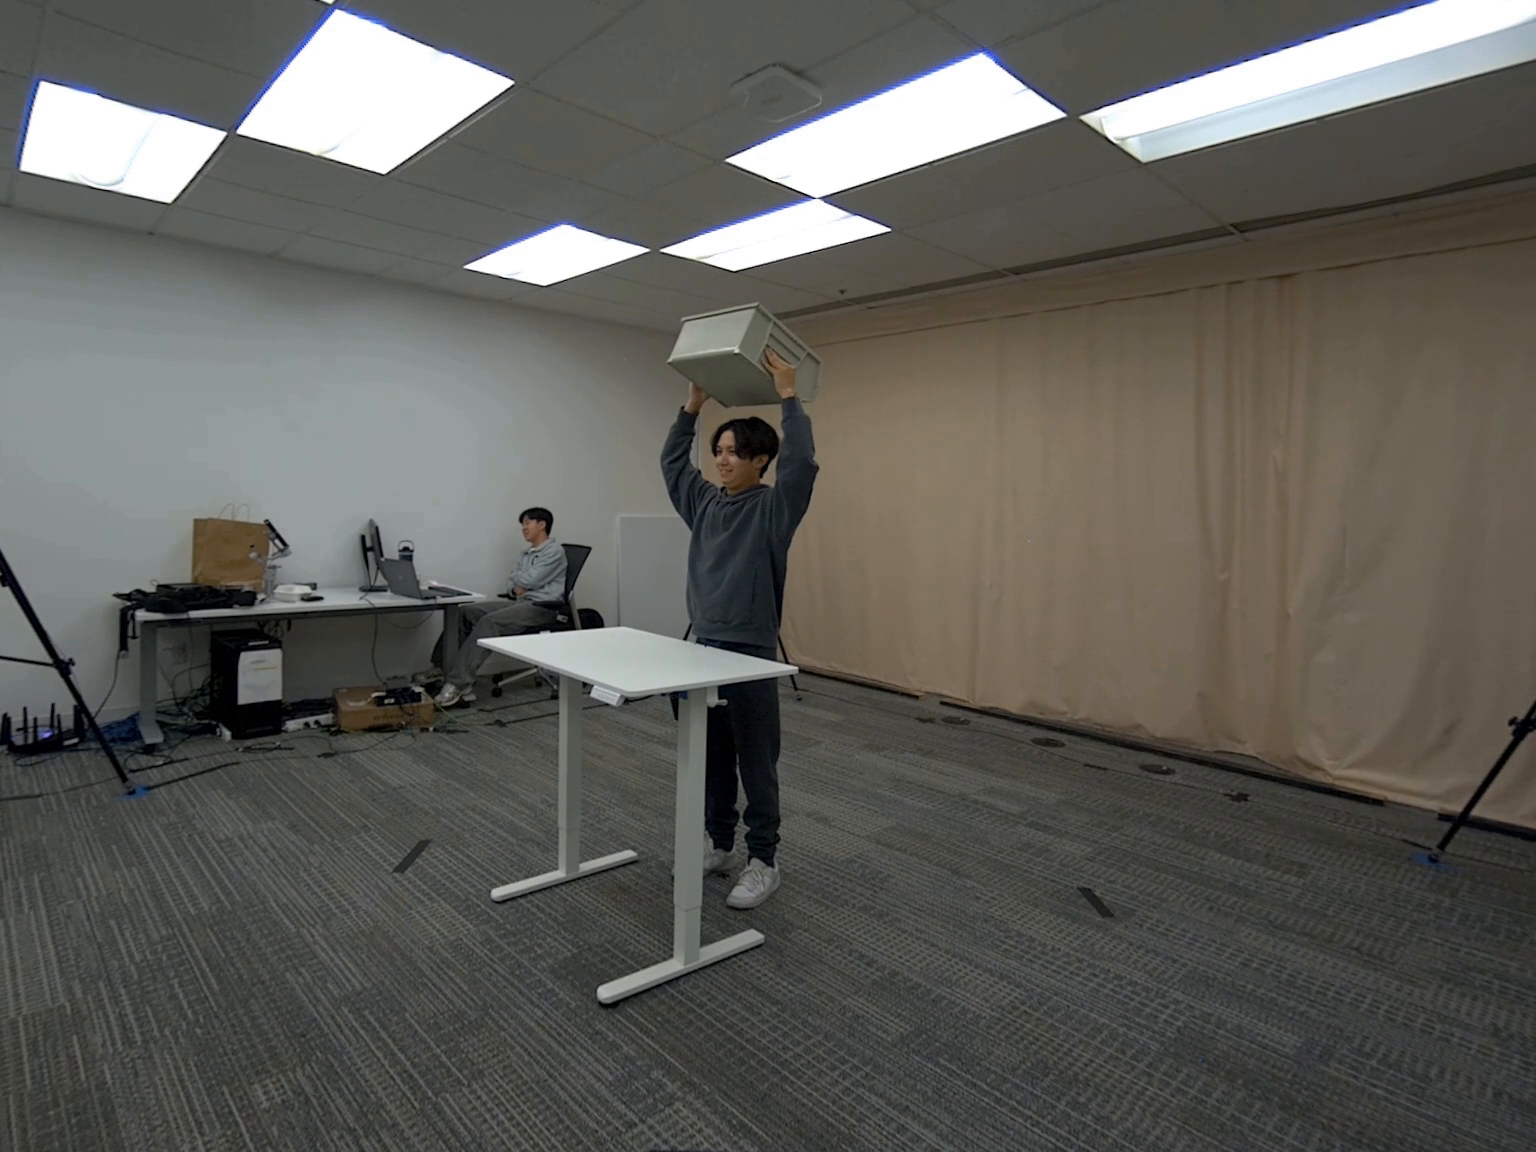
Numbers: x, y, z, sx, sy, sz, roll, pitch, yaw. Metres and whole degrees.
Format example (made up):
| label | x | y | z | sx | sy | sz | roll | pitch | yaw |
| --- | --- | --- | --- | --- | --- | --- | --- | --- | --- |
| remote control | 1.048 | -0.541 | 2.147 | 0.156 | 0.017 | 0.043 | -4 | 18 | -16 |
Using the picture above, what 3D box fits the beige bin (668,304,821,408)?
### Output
| label | x | y | z | sx | sy | sz | roll | pitch | yaw |
| --- | --- | --- | --- | --- | --- | --- | --- | --- | --- |
| beige bin | -0.089 | -0.743 | 2.950 | 0.366 | 0.190 | 0.434 | 31 | -13 | -39 |
